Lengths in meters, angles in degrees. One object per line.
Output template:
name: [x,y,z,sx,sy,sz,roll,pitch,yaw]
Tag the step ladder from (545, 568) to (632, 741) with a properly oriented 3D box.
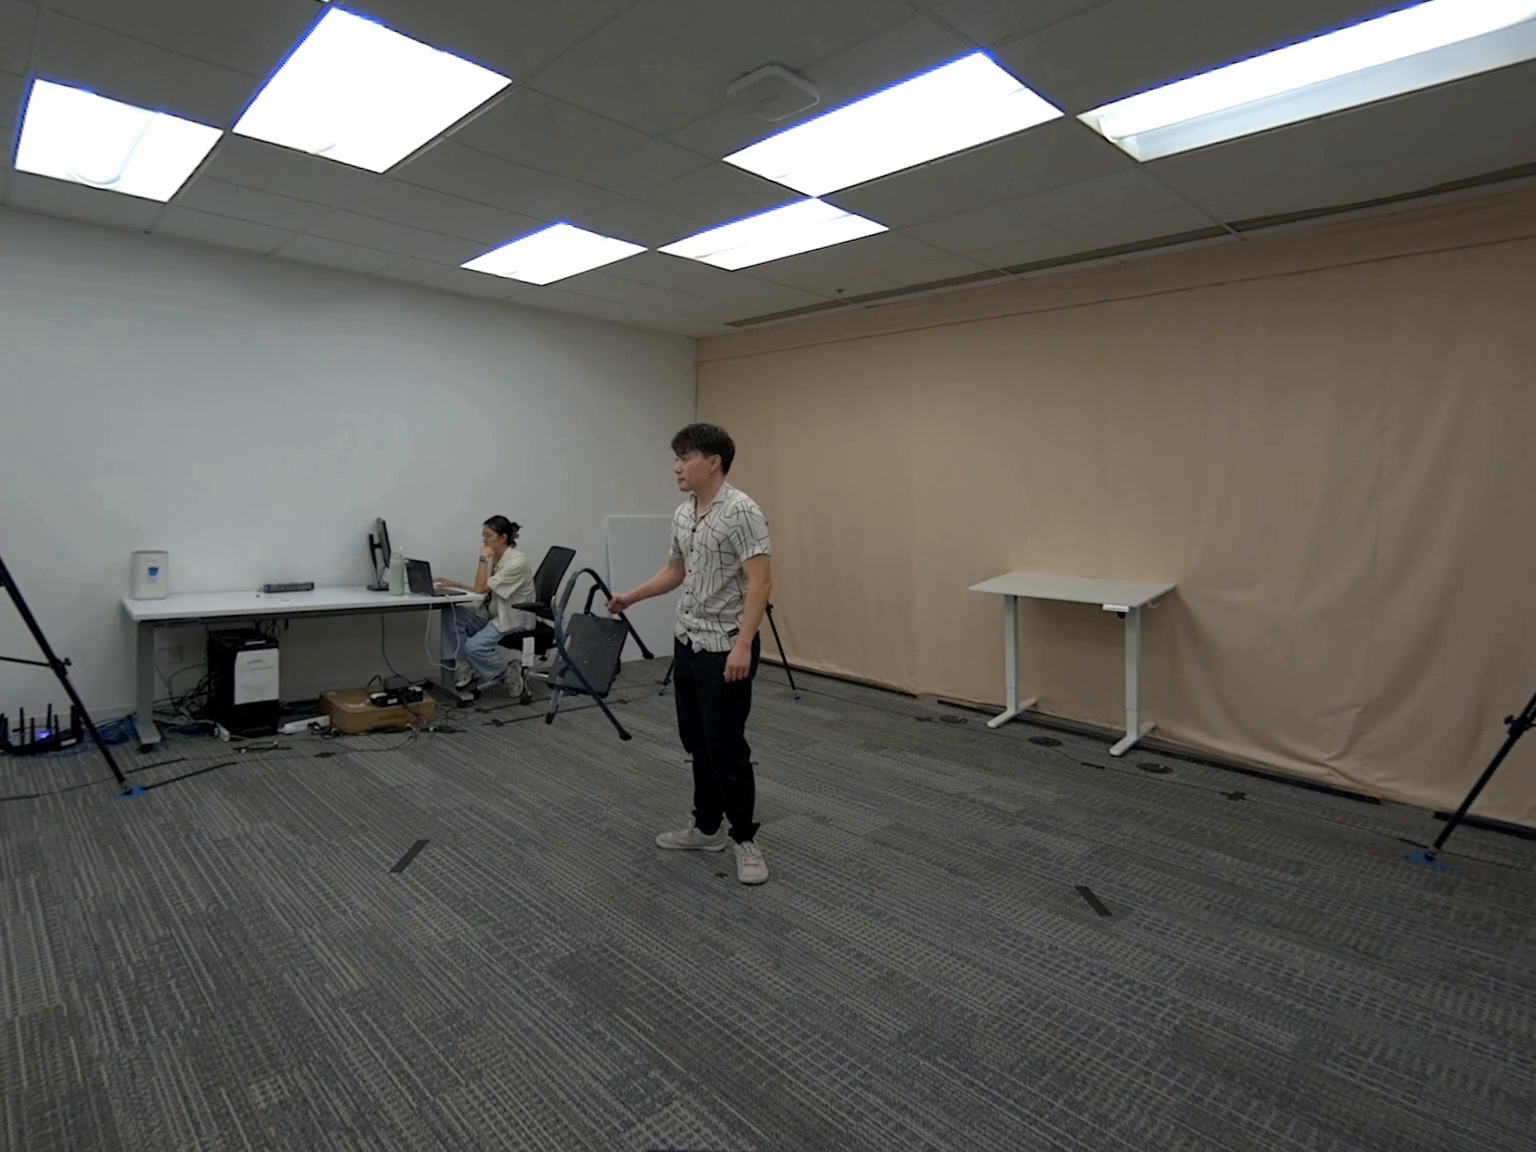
step ladder: [-0.676,0.272,3.271,0.350,0.593,0.438,8,48,3]
